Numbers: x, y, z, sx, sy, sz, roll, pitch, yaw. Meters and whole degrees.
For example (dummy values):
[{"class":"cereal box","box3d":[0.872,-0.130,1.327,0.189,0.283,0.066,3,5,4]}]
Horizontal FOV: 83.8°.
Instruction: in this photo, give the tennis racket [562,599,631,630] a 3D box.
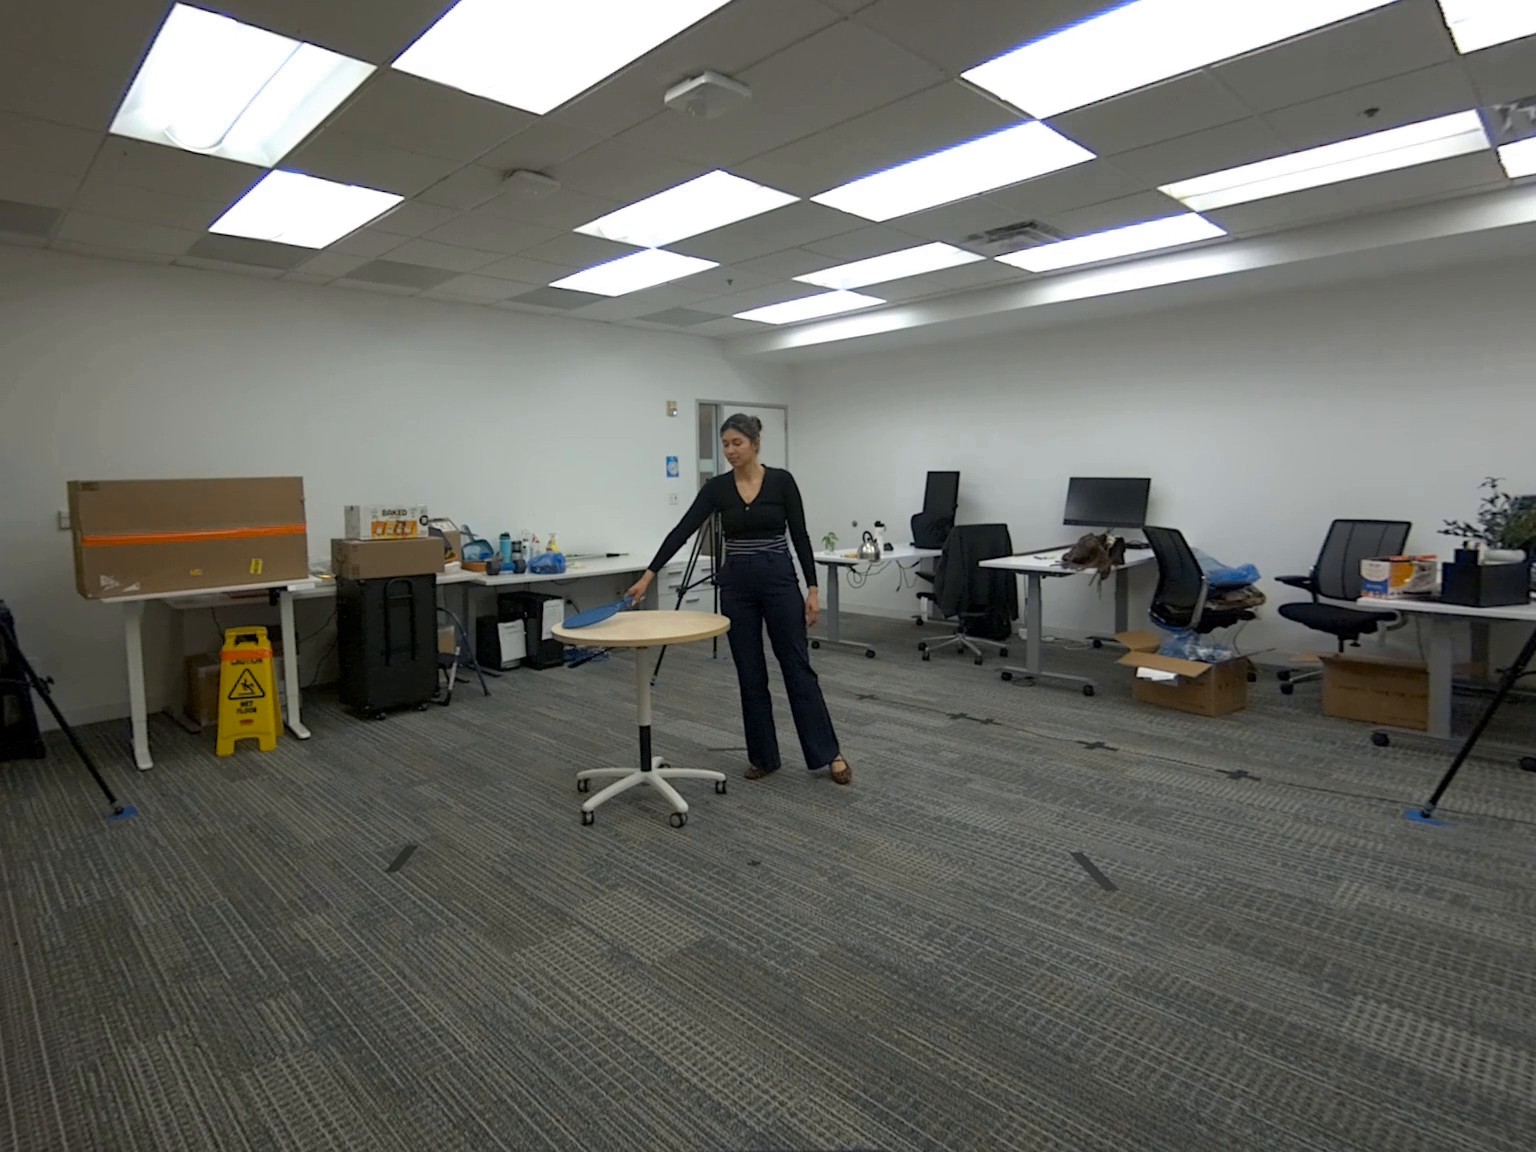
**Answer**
[{"class":"tennis racket","box3d":[-0.705,0.151,3.728,0.426,0.031,0.220,-23,17,-37]}]
